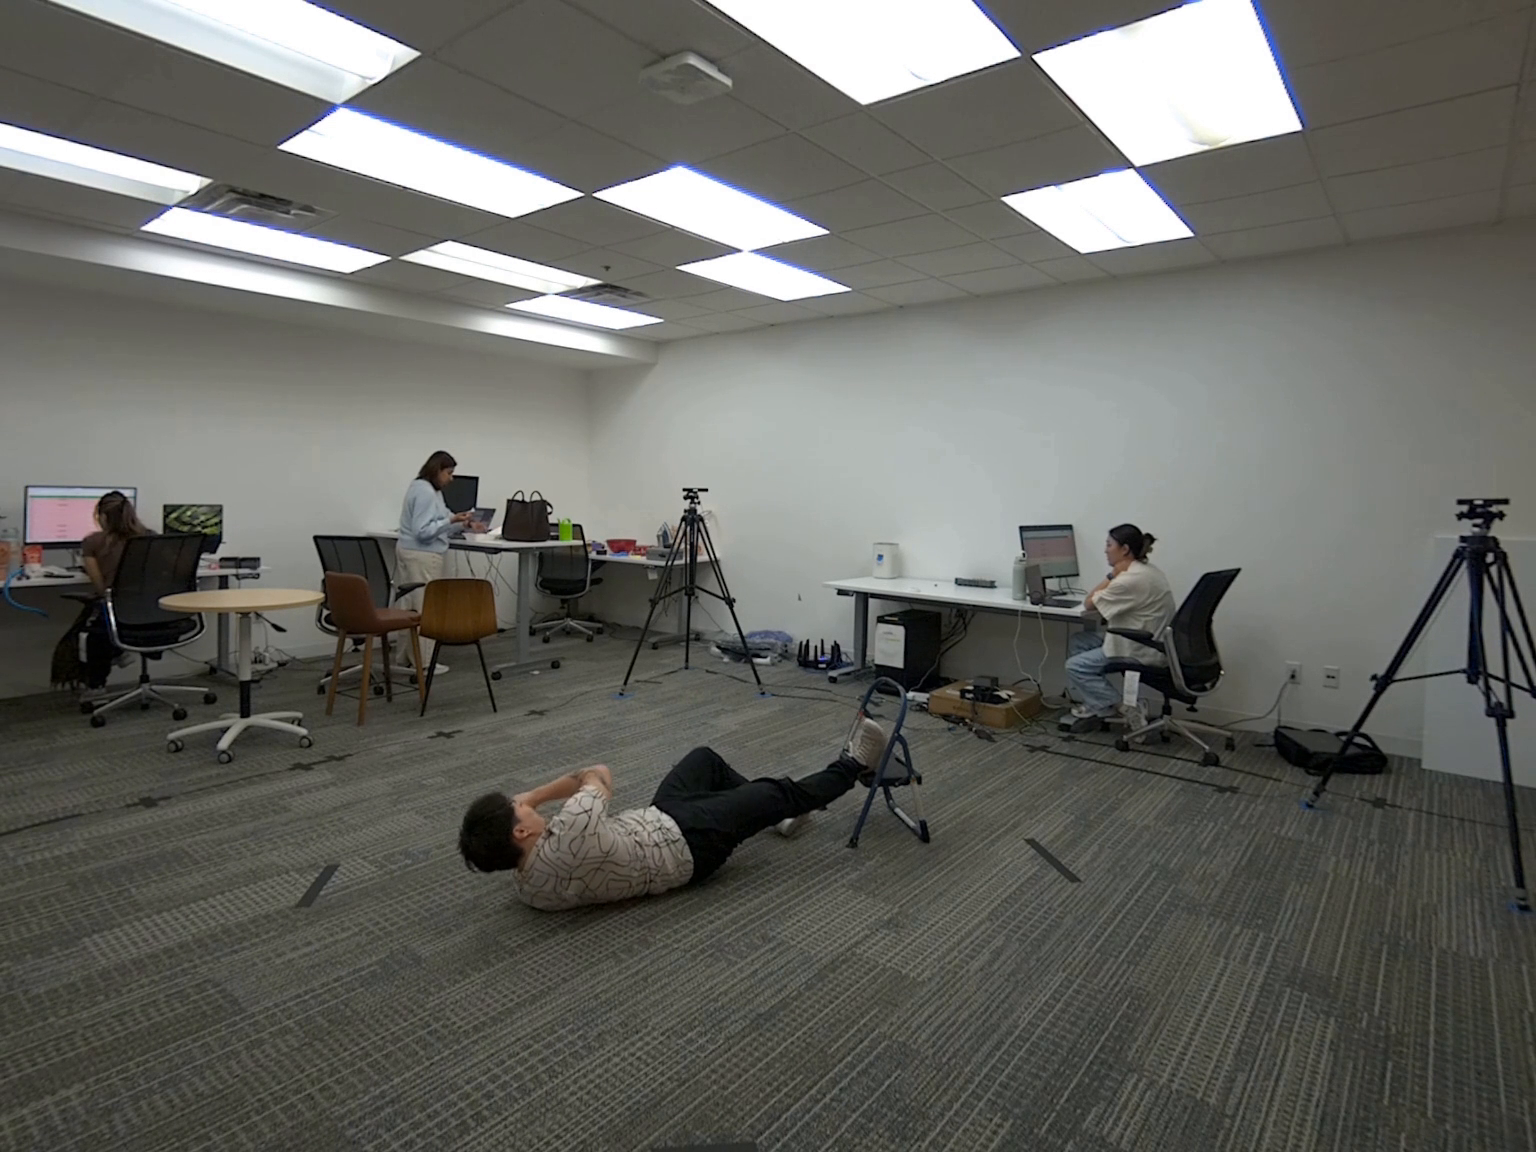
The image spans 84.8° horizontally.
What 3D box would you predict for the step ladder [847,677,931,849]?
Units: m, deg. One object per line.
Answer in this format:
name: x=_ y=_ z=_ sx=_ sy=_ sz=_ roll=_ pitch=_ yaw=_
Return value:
step ladder: x=0.436 y=0.740 z=3.554 sx=0.345 sy=0.604 sz=0.438 roll=0 pitch=4 yaw=-13
